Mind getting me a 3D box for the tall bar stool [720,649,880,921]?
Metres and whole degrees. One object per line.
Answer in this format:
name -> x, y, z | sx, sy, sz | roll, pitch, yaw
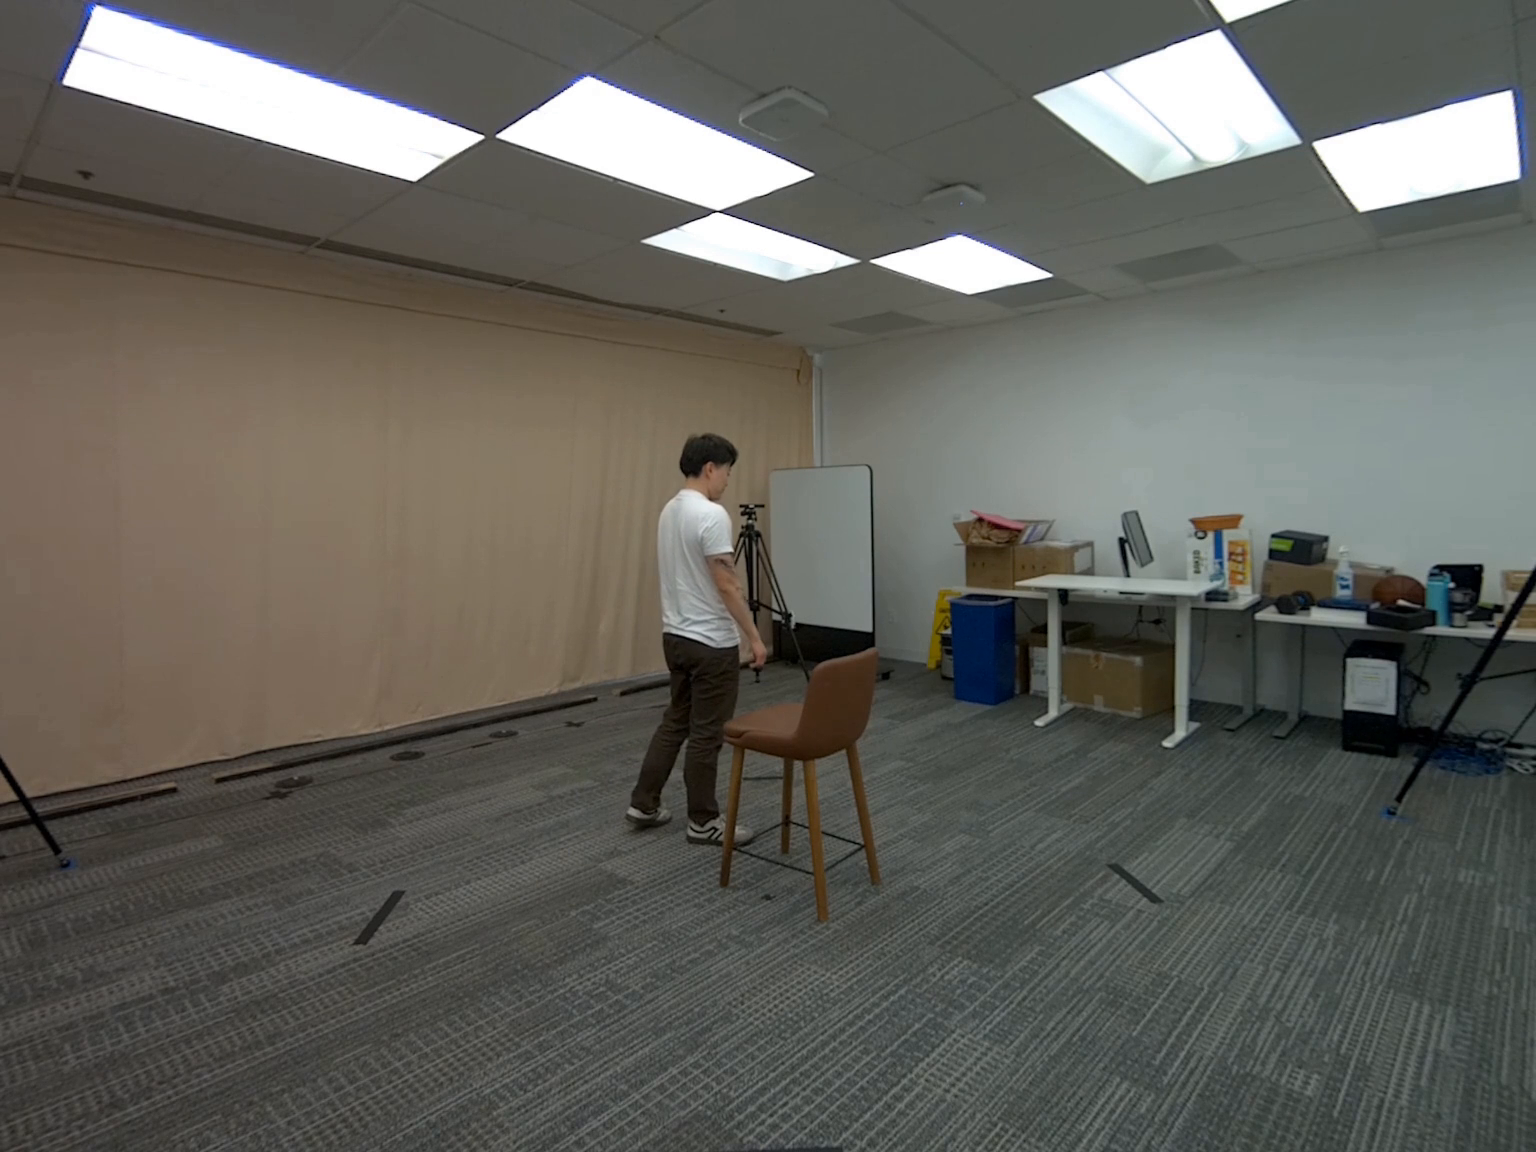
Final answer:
tall bar stool -> 0.123, 0.694, 3.054 | 0.483, 0.887, 0.443 | 5, 6, 39
